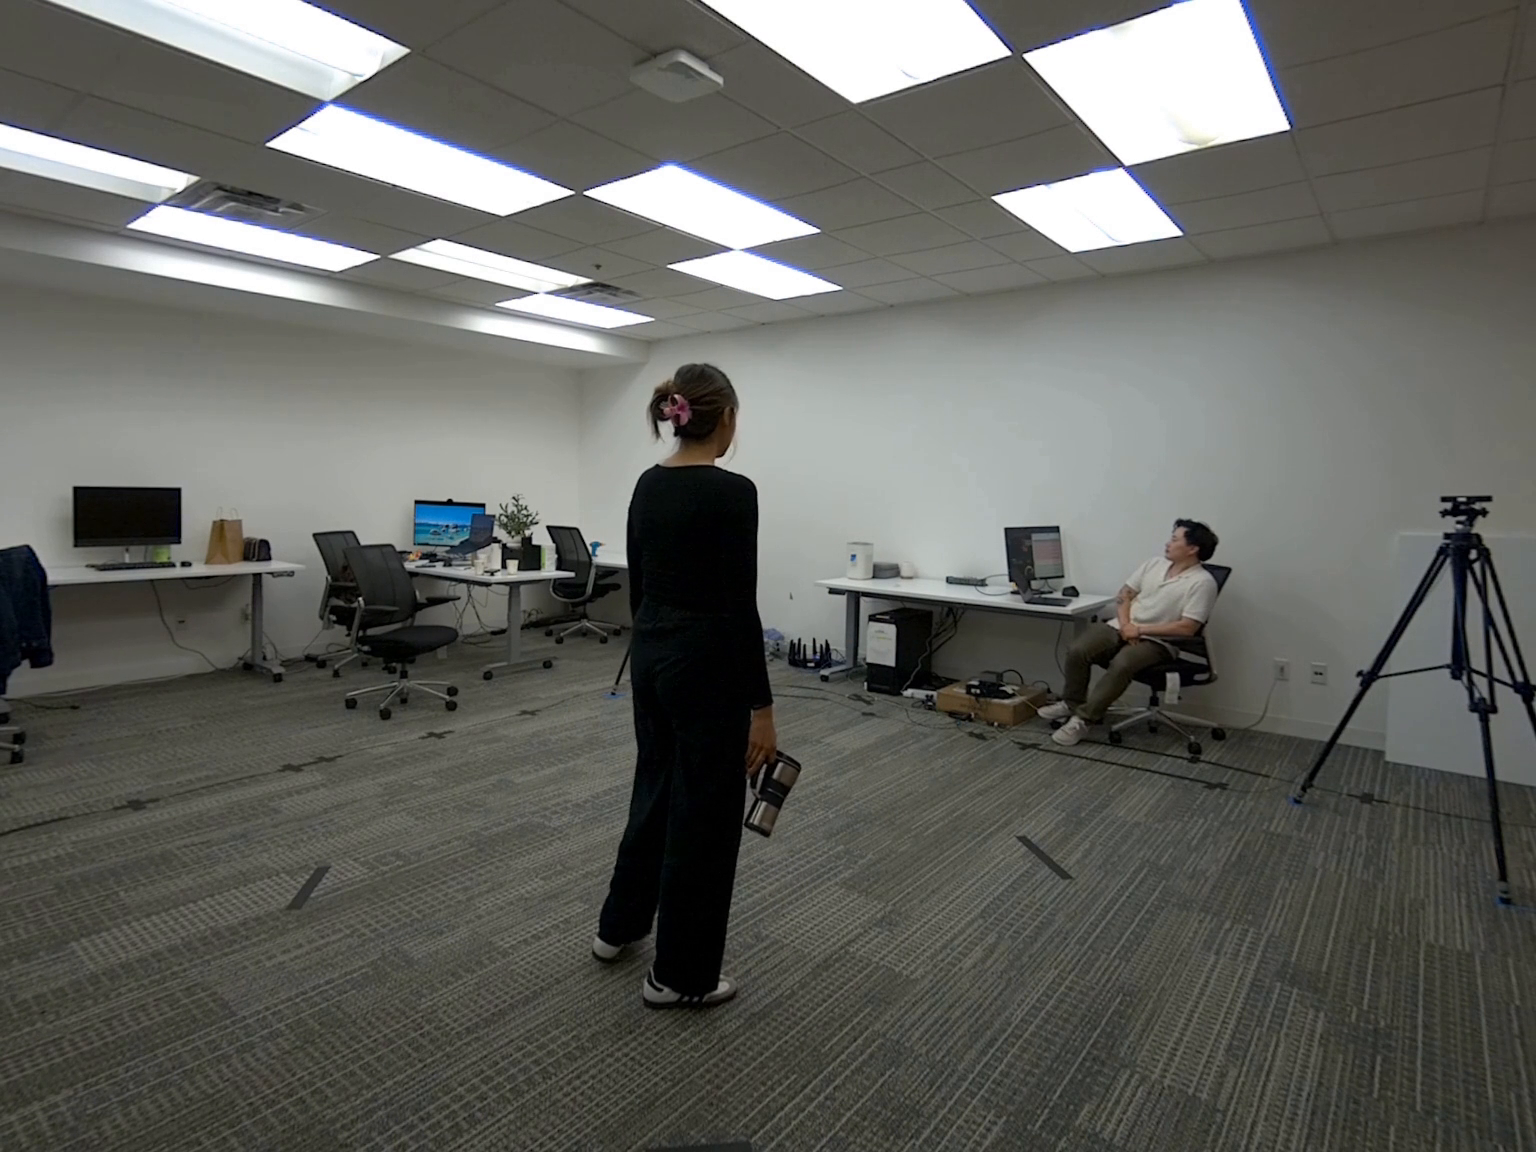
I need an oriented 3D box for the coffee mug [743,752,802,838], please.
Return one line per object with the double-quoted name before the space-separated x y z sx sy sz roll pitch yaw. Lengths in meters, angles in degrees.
"coffee mug" -0.012 0.563 2.165 0.127 0.204 0.084 16 -13 40
